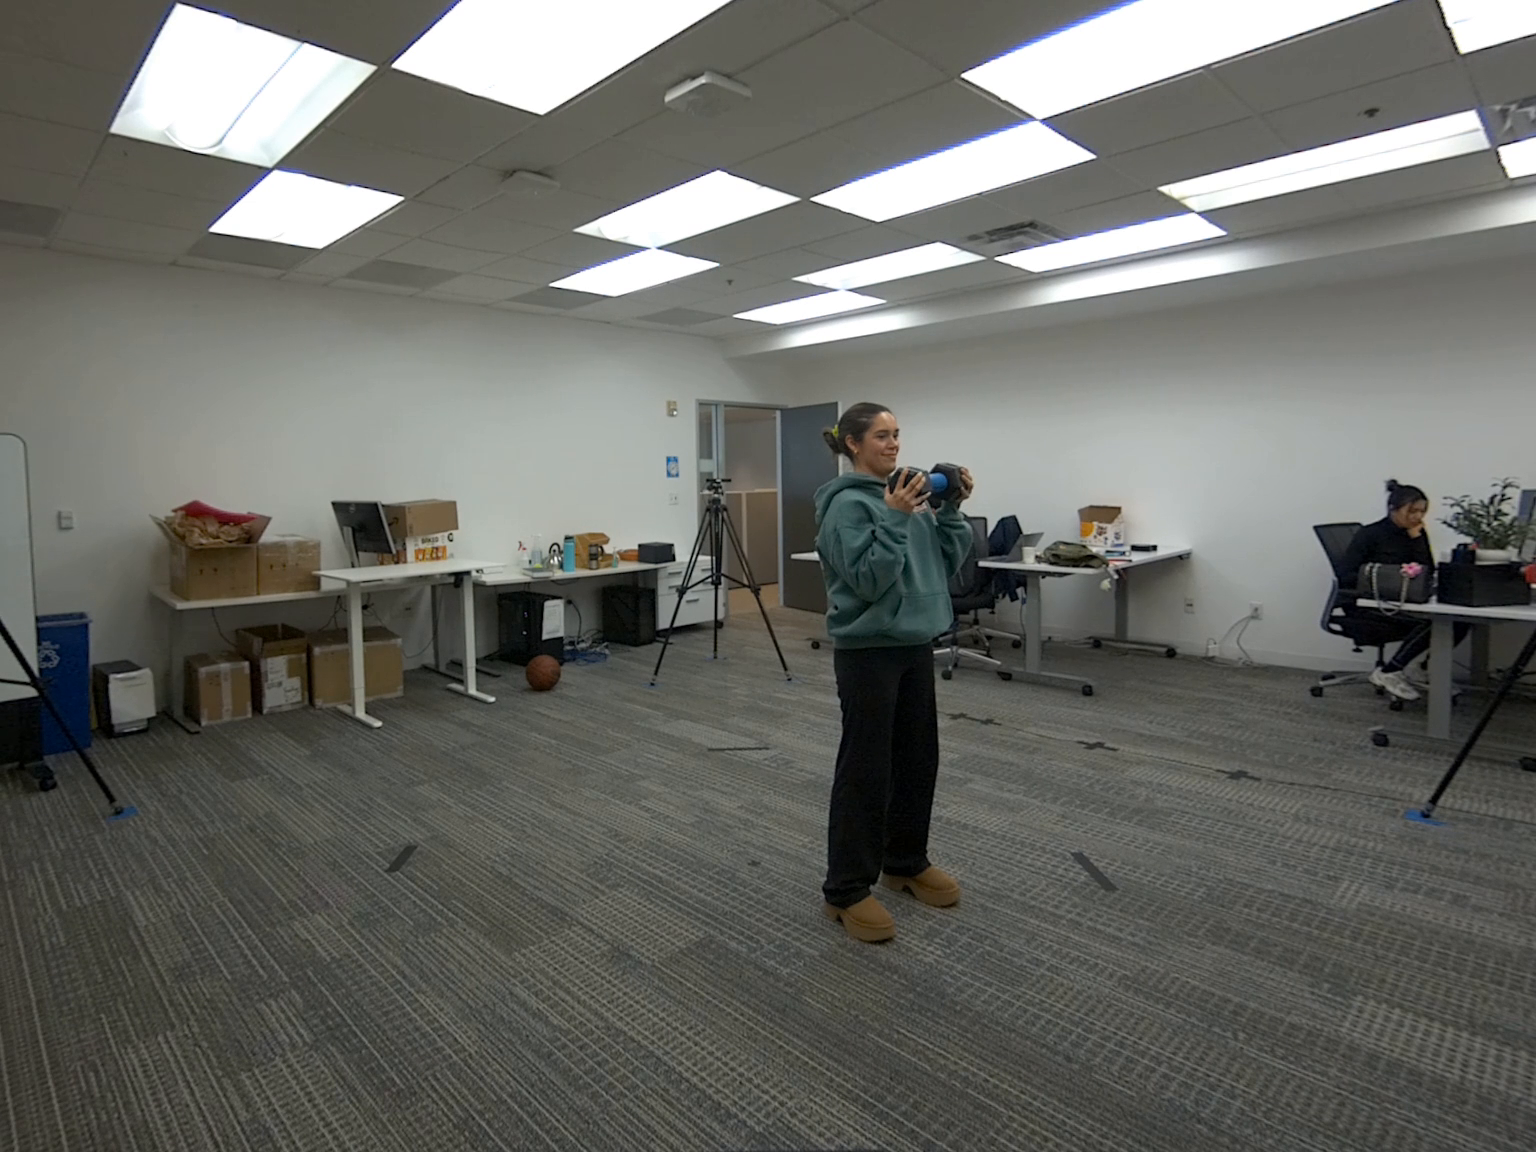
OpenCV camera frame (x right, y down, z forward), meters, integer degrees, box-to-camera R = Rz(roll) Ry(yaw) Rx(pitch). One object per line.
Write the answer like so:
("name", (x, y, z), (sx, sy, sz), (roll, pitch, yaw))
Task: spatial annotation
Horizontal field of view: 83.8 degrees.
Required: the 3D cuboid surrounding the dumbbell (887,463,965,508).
("dumbbell", (0.487, -0.275, 2.599), (0.287, 0.112, 0.122), (-12, -32, -45))
